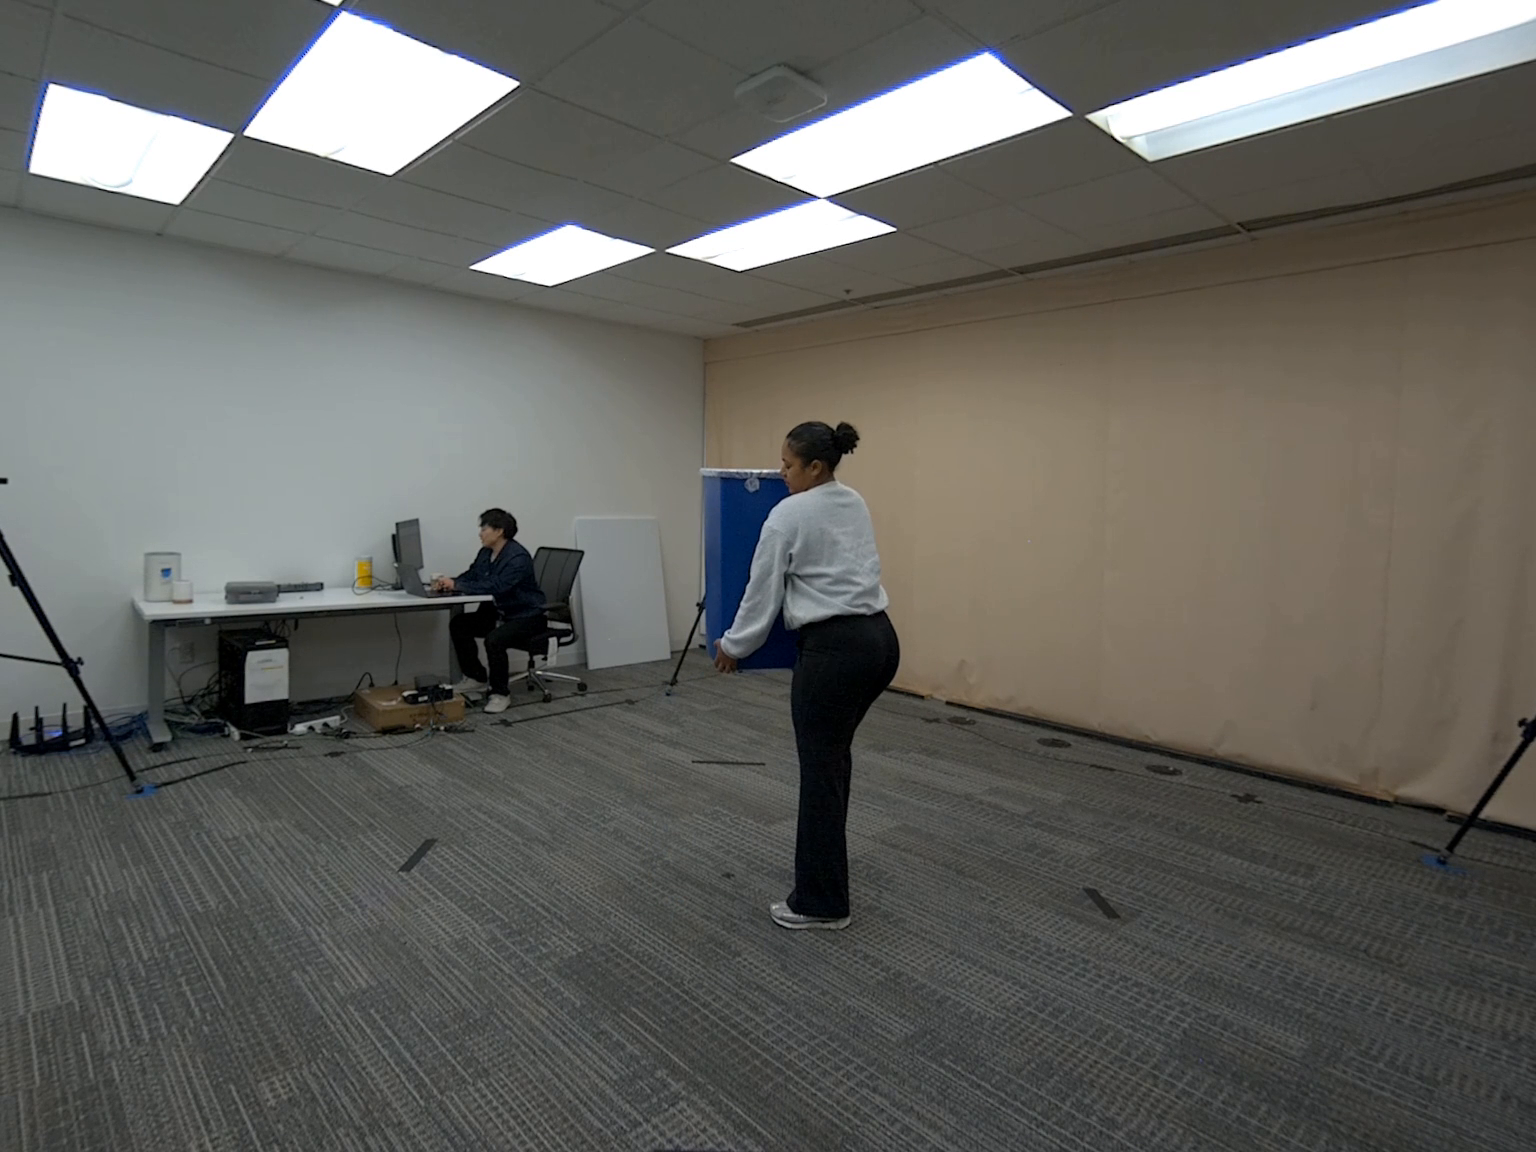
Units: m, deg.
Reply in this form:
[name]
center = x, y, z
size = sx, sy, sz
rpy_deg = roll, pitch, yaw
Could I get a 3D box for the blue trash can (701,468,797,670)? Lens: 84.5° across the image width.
[blue trash can]
center = -0.047, -0.037, 3.153
size = 0.370, 0.710, 0.384
rpy_deg = -1, 6, -16
